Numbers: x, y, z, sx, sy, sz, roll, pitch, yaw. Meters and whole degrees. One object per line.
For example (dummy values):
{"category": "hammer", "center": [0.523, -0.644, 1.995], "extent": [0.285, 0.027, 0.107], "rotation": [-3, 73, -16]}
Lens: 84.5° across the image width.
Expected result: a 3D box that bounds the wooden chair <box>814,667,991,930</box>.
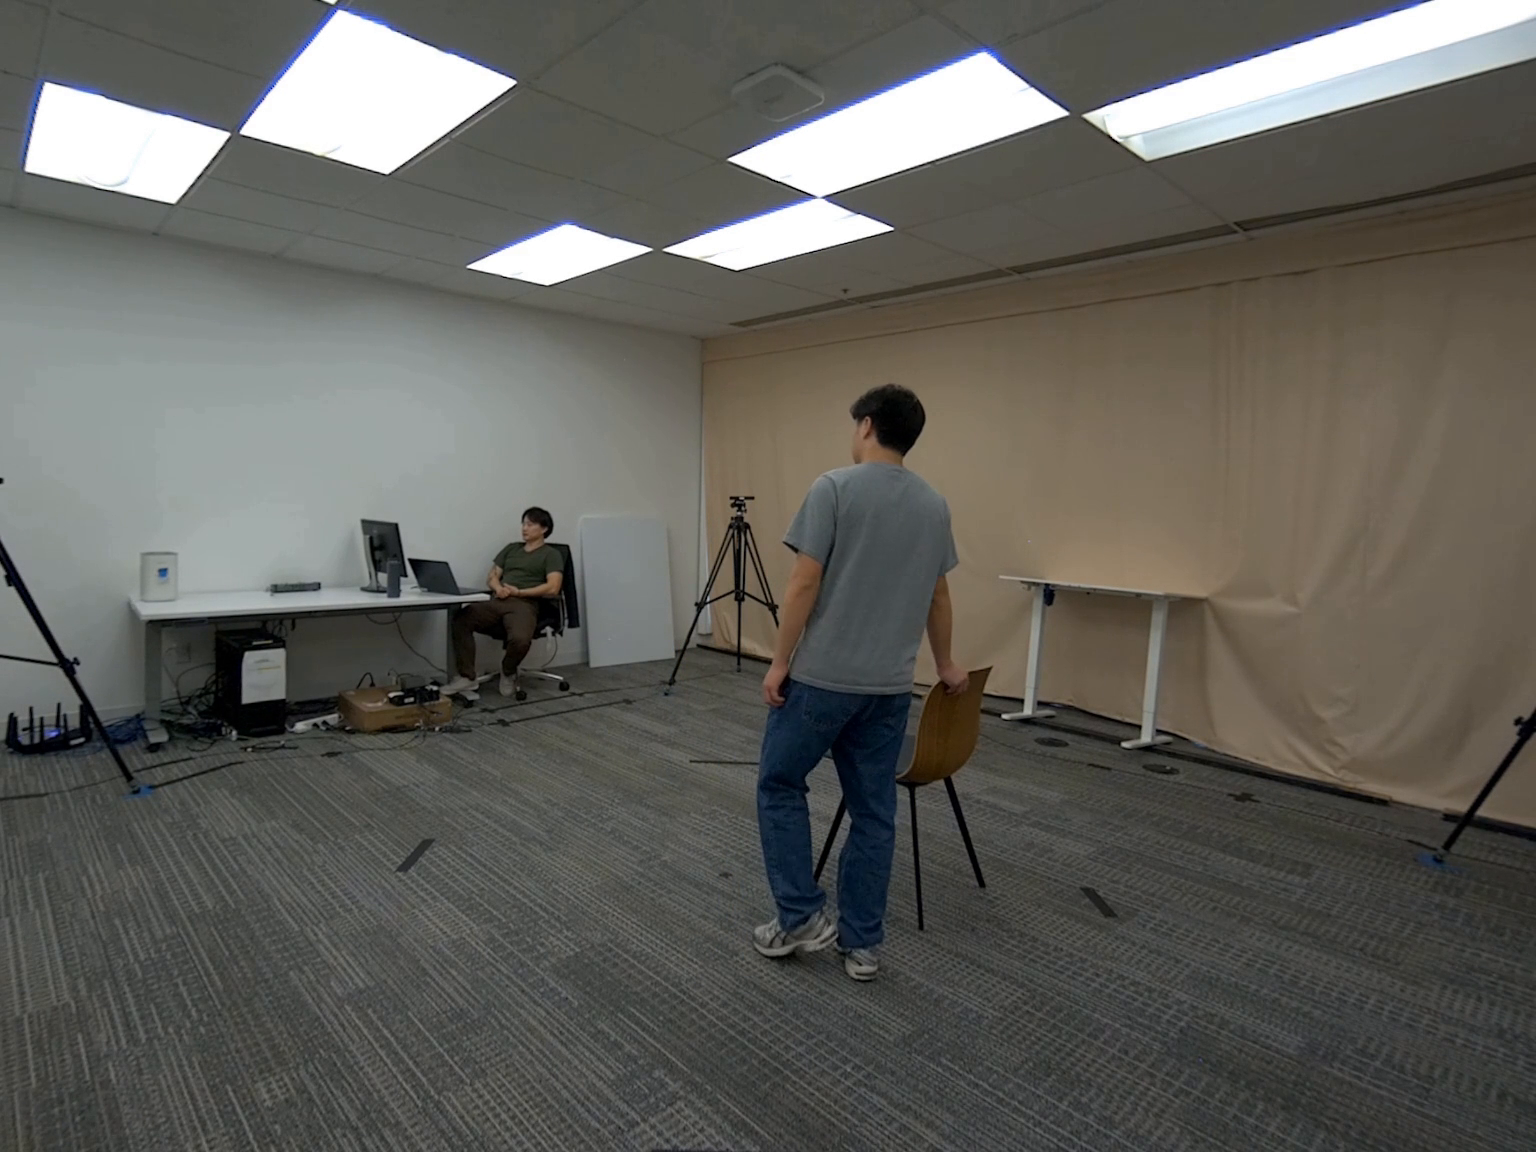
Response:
{"category": "wooden chair", "center": [0.475, 0.700, 3.024], "extent": [0.537, 0.873, 0.467], "rotation": [10, 8, 41]}
